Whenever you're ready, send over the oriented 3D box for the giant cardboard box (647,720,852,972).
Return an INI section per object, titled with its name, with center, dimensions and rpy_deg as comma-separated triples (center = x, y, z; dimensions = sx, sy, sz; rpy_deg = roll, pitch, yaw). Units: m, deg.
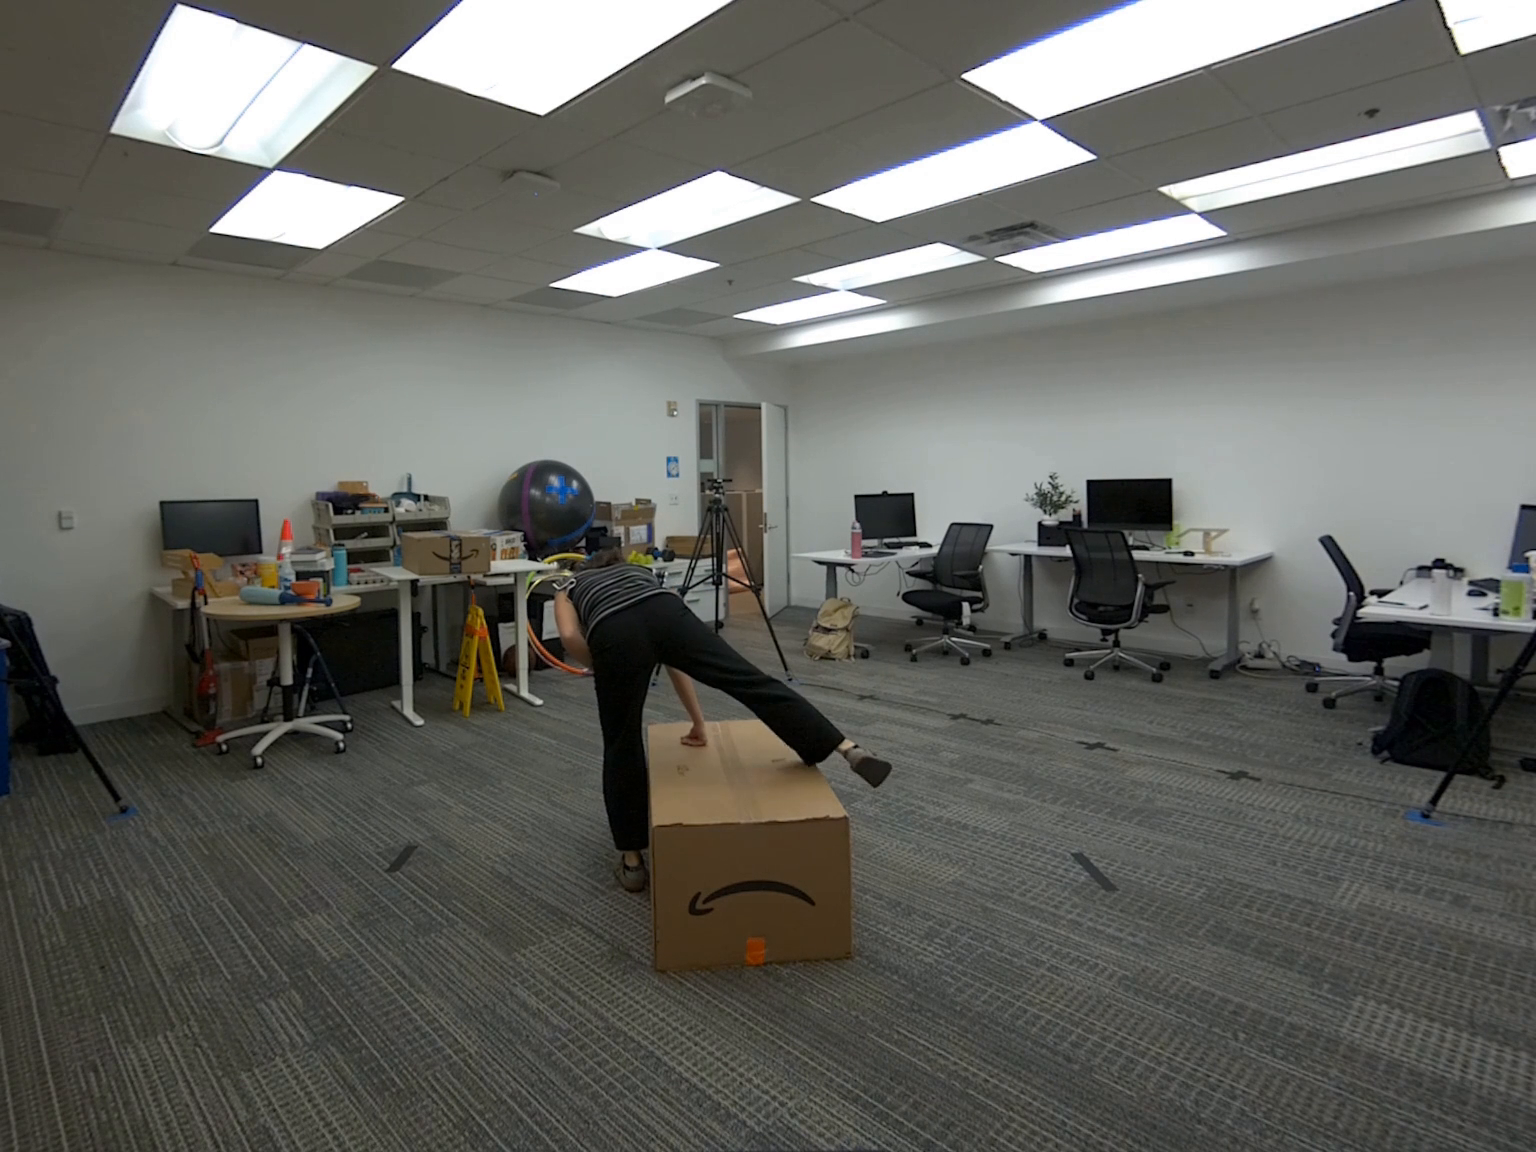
[giant cardboard box]
center = -0.121, 0.857, 2.947
dimensions = 0.574, 0.424, 1.037
rpy_deg = -1, 6, -8
